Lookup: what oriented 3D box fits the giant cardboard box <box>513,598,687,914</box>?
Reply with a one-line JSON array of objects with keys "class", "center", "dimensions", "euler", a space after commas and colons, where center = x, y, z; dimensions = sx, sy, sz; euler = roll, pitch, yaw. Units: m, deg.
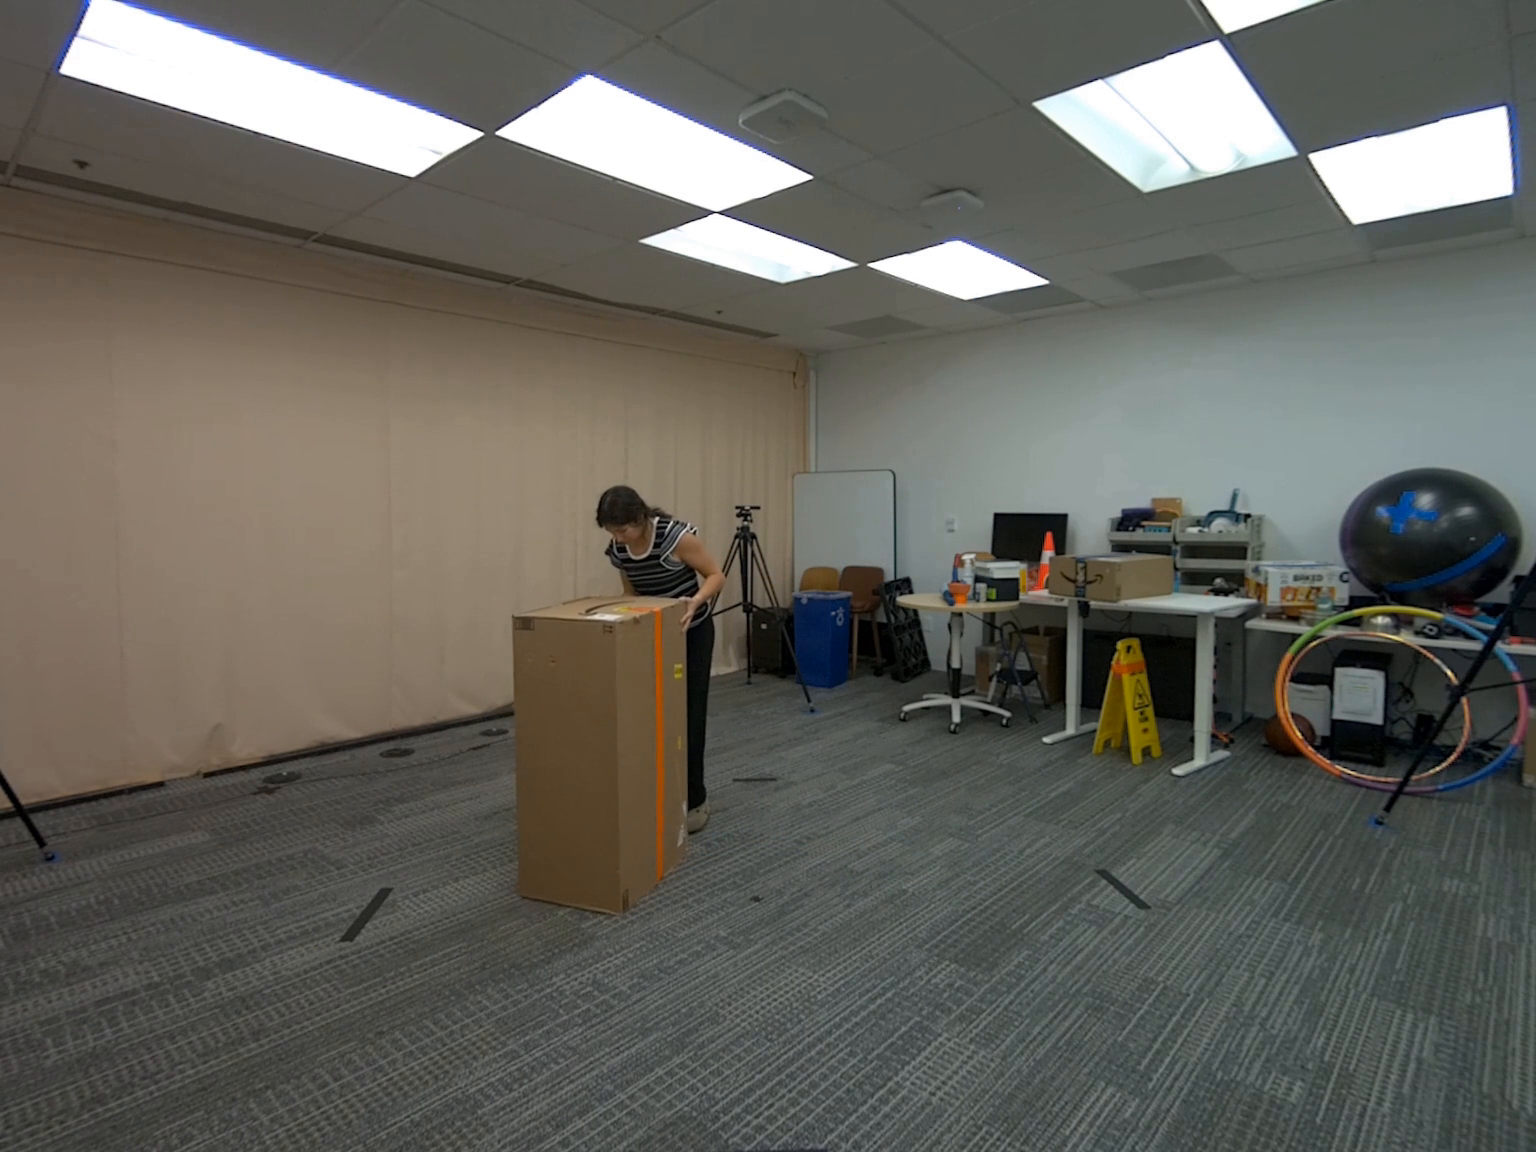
[{"class": "giant cardboard box", "center": [-0.607, 0.629, 3.172], "dimensions": [0.435, 1.023, 0.566], "euler": [1, 4, 20]}]
